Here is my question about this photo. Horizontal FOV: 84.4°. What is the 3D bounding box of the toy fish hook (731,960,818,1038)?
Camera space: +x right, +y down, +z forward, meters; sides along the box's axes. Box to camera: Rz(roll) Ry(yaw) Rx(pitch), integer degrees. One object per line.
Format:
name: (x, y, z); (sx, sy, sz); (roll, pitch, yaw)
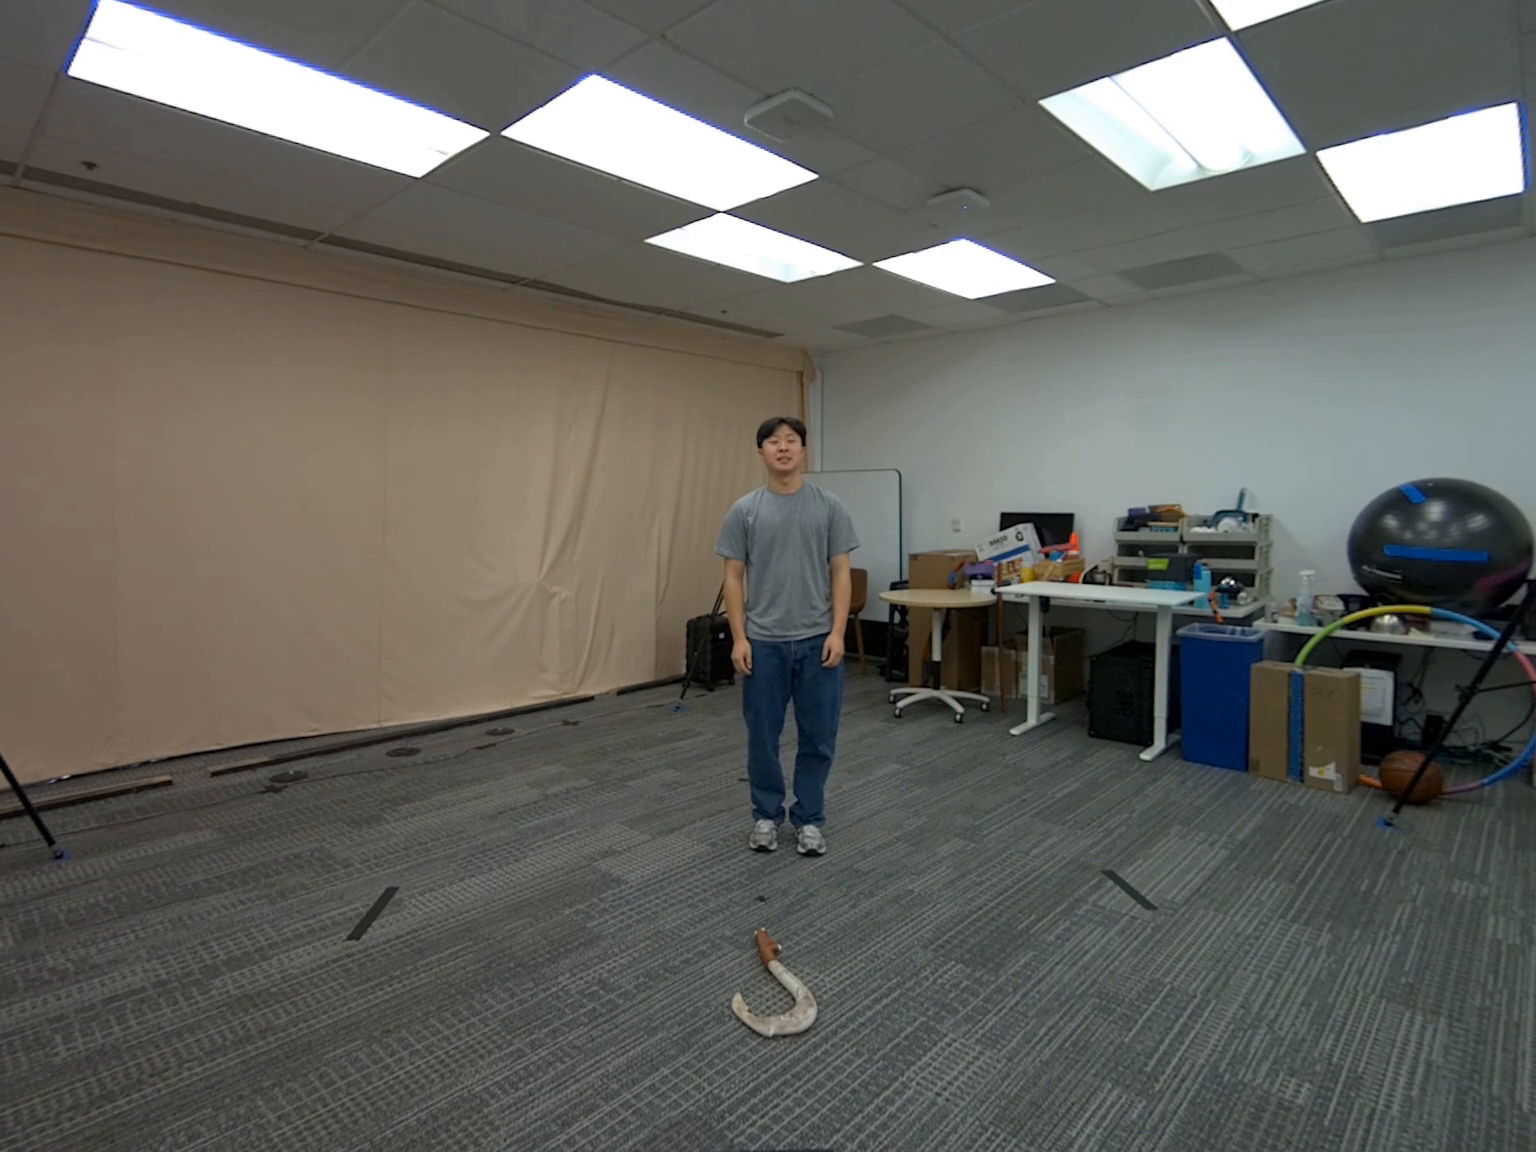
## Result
toy fish hook: (-0.014, 1.158, 2.446); (0.222, 0.048, 0.514); (1, 4, -13)
